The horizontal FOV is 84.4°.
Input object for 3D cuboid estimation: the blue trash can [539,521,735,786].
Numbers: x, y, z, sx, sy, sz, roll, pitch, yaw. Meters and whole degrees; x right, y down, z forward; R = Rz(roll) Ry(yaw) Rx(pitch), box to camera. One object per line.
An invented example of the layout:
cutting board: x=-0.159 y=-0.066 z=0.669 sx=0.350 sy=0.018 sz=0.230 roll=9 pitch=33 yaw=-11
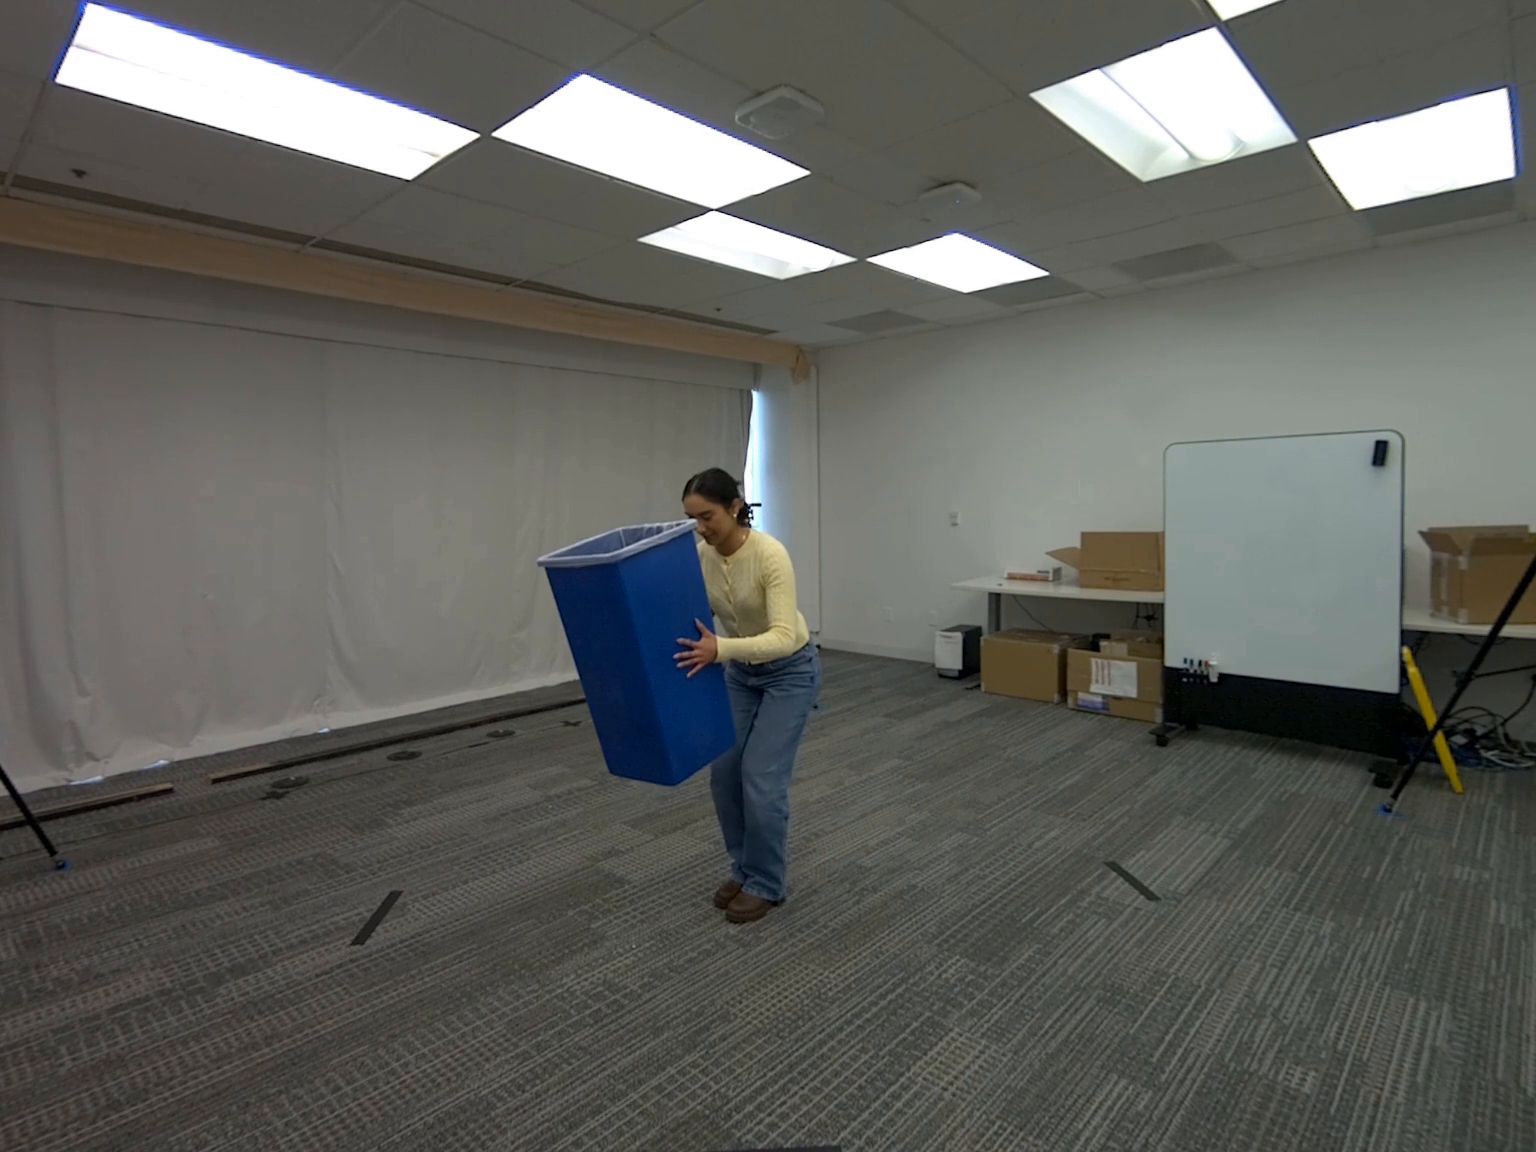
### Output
blue trash can: x=-0.374 y=0.232 z=2.556 sx=0.389 sy=0.708 sz=0.366 roll=-5 pitch=12 yaw=40
